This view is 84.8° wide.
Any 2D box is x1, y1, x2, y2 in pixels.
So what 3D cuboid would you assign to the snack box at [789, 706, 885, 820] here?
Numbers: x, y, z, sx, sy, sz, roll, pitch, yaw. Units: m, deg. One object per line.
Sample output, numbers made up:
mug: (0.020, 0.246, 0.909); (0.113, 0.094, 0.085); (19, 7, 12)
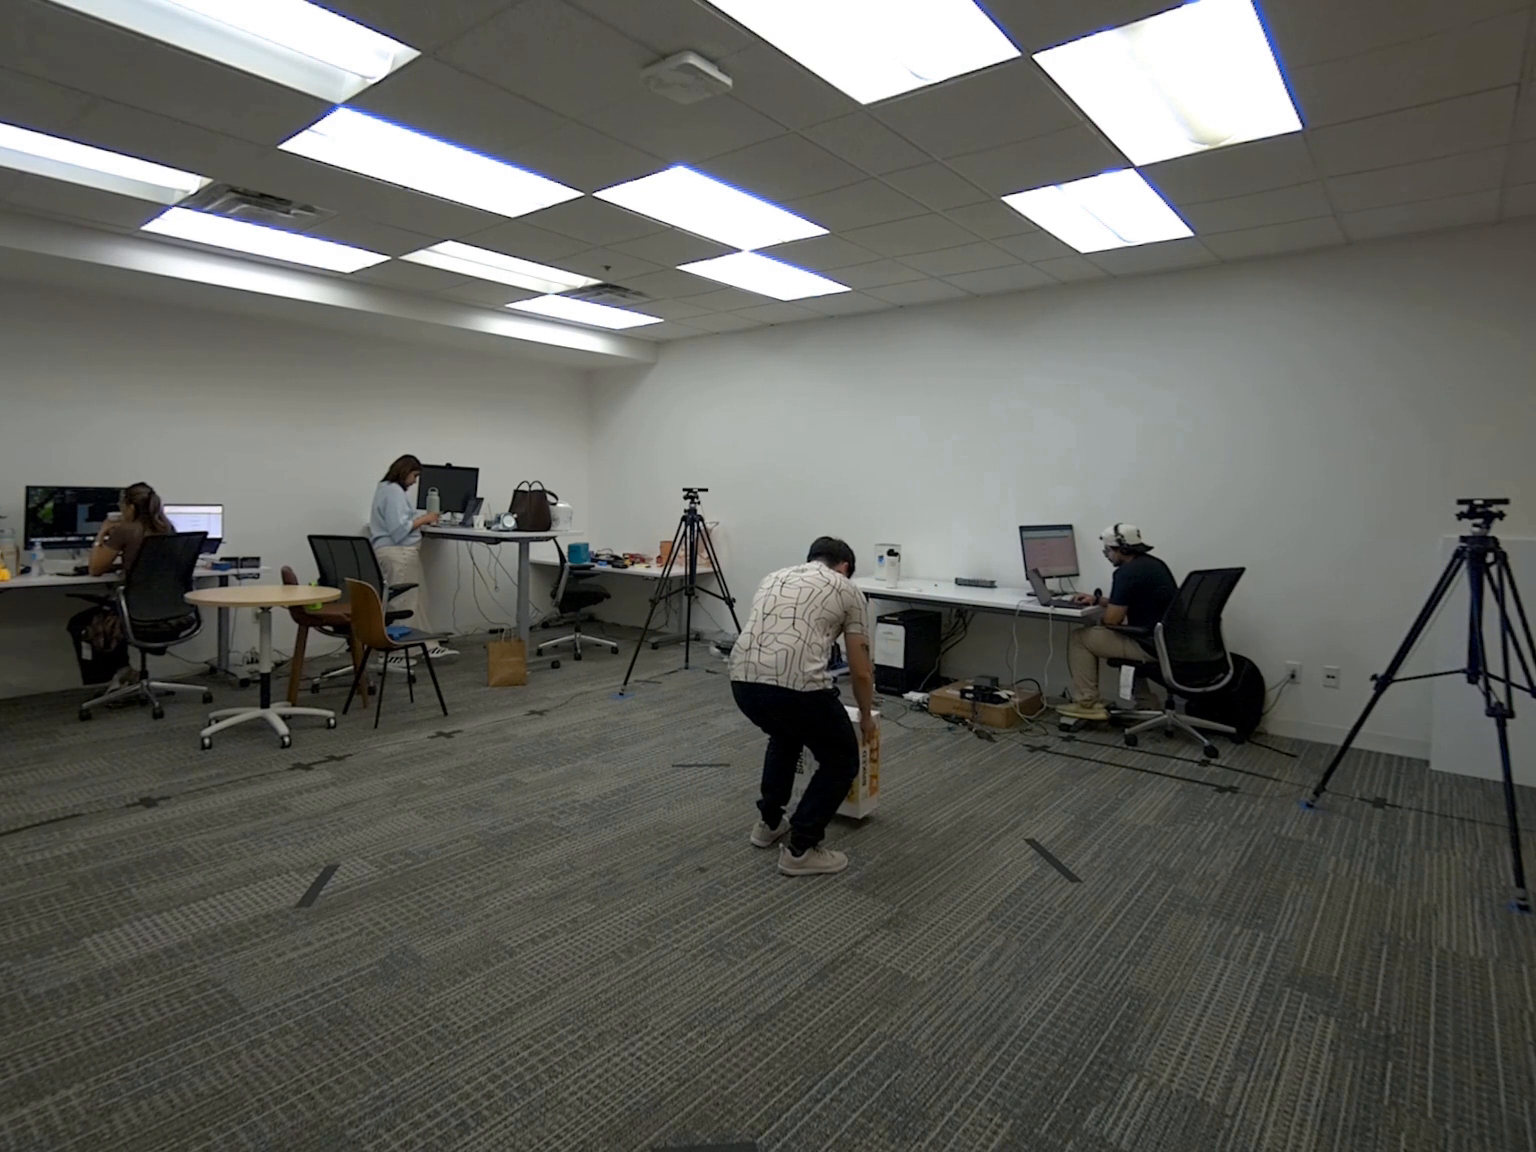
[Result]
snack box: (0.277, 0.776, 3.647); (0.351, 0.404, 0.200); (3, 4, 34)
